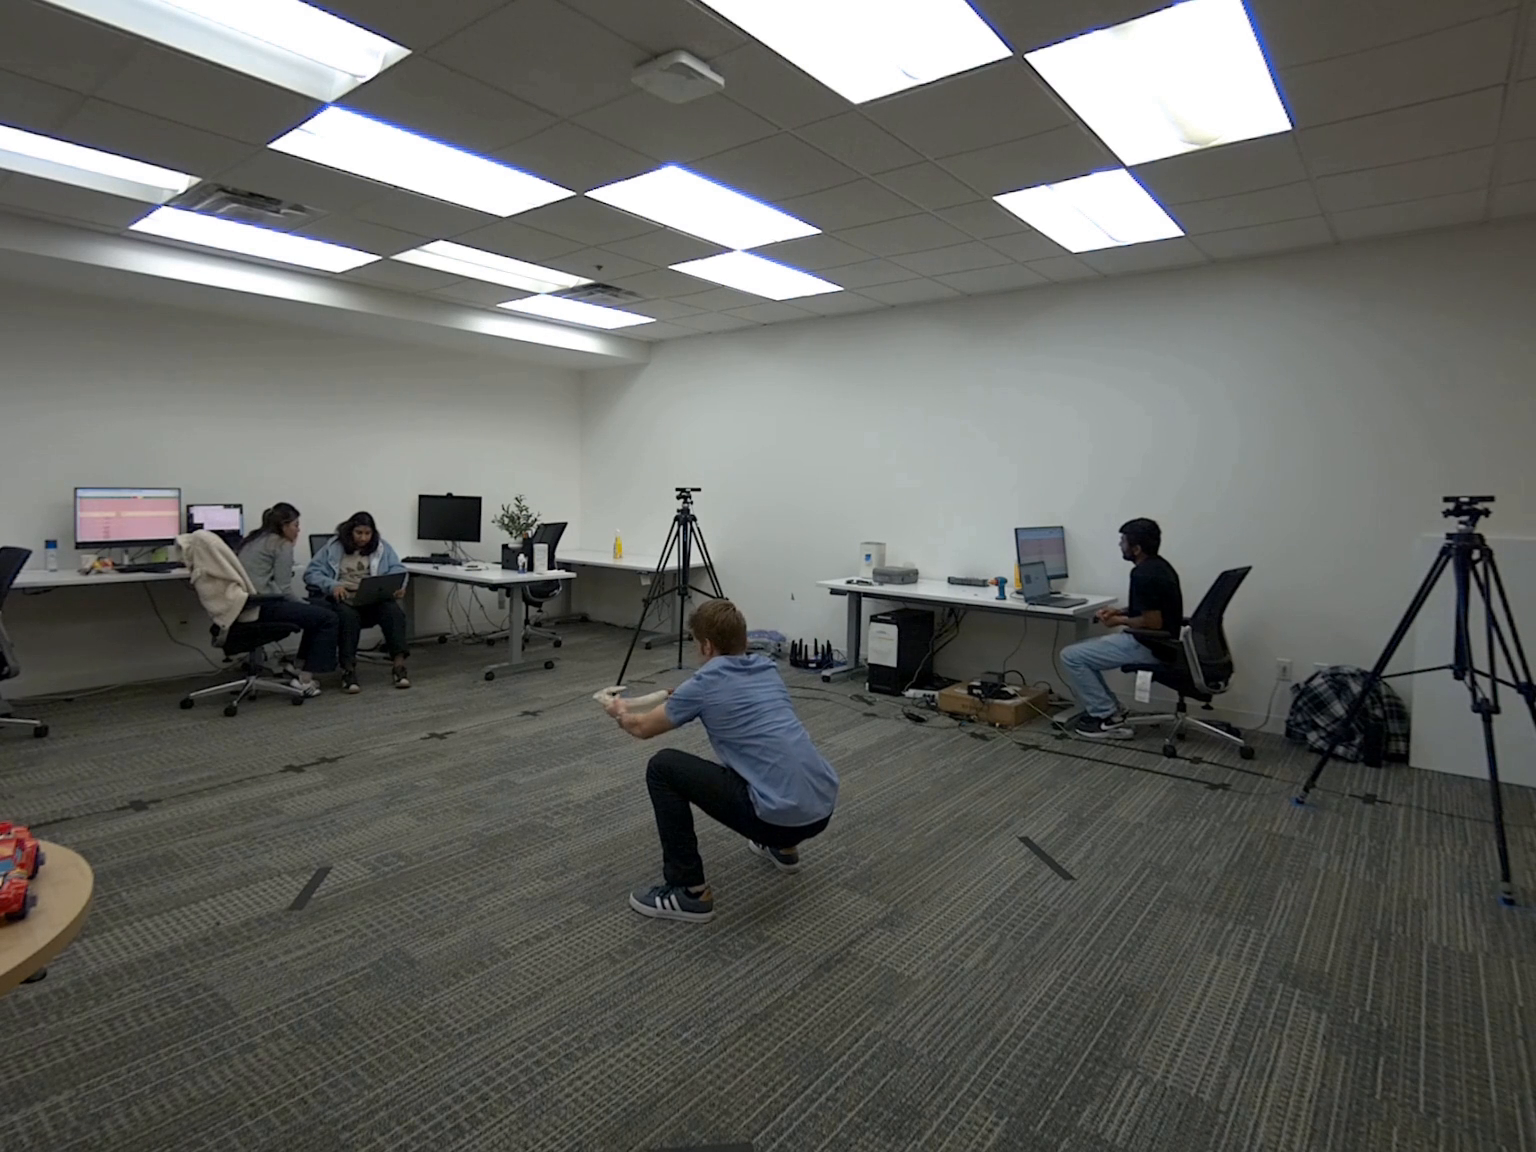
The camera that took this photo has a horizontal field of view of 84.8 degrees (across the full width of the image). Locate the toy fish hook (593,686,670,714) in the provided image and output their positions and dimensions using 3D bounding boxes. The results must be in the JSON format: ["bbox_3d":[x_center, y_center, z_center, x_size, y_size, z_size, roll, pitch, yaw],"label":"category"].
[{"bbox_3d":[-0.496,0.481,3.552,0.491,0.048,0.234,-4,17,-43],"label":"toy fish hook"}]
